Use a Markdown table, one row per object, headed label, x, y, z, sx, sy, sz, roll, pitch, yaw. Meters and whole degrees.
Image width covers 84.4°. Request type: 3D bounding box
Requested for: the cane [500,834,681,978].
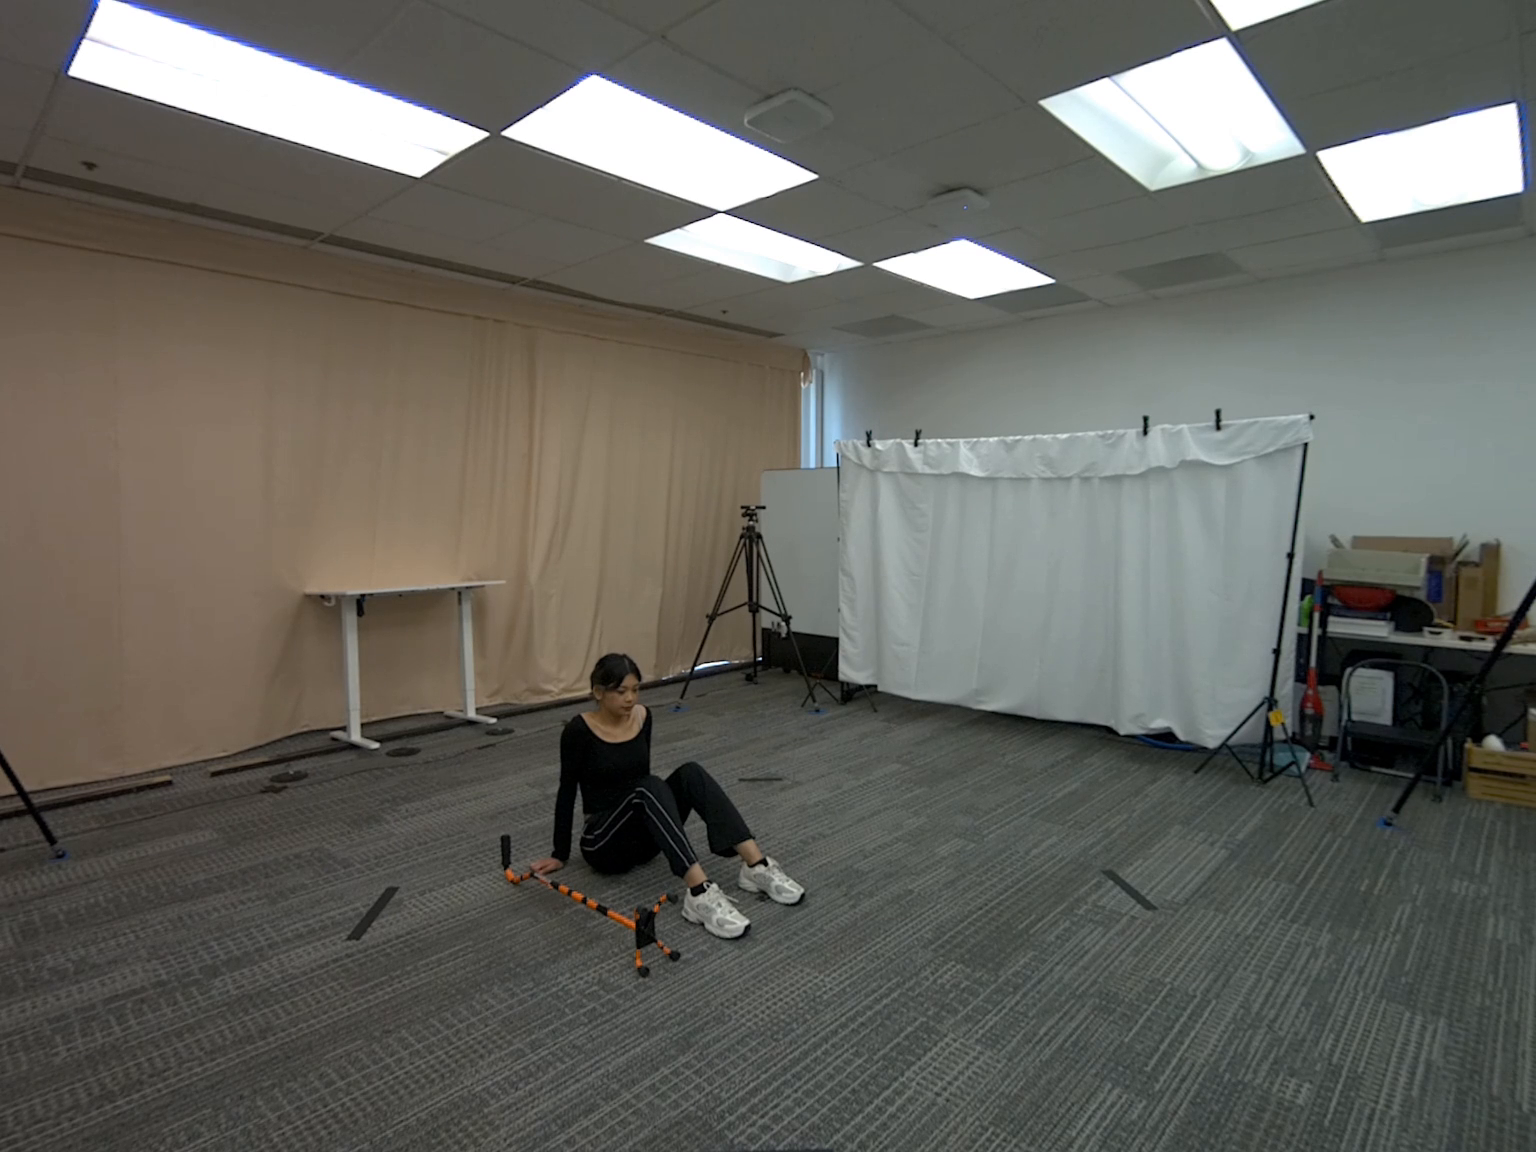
| label | x | y | z | sx | sy | sz | roll | pitch | yaw |
| --- | --- | --- | --- | --- | --- | --- | --- | --- | --- |
| cane | -0.657 | 1.067 | 2.857 | 0.937 | 0.206 | 0.147 | 1 | 4 | 45 |
